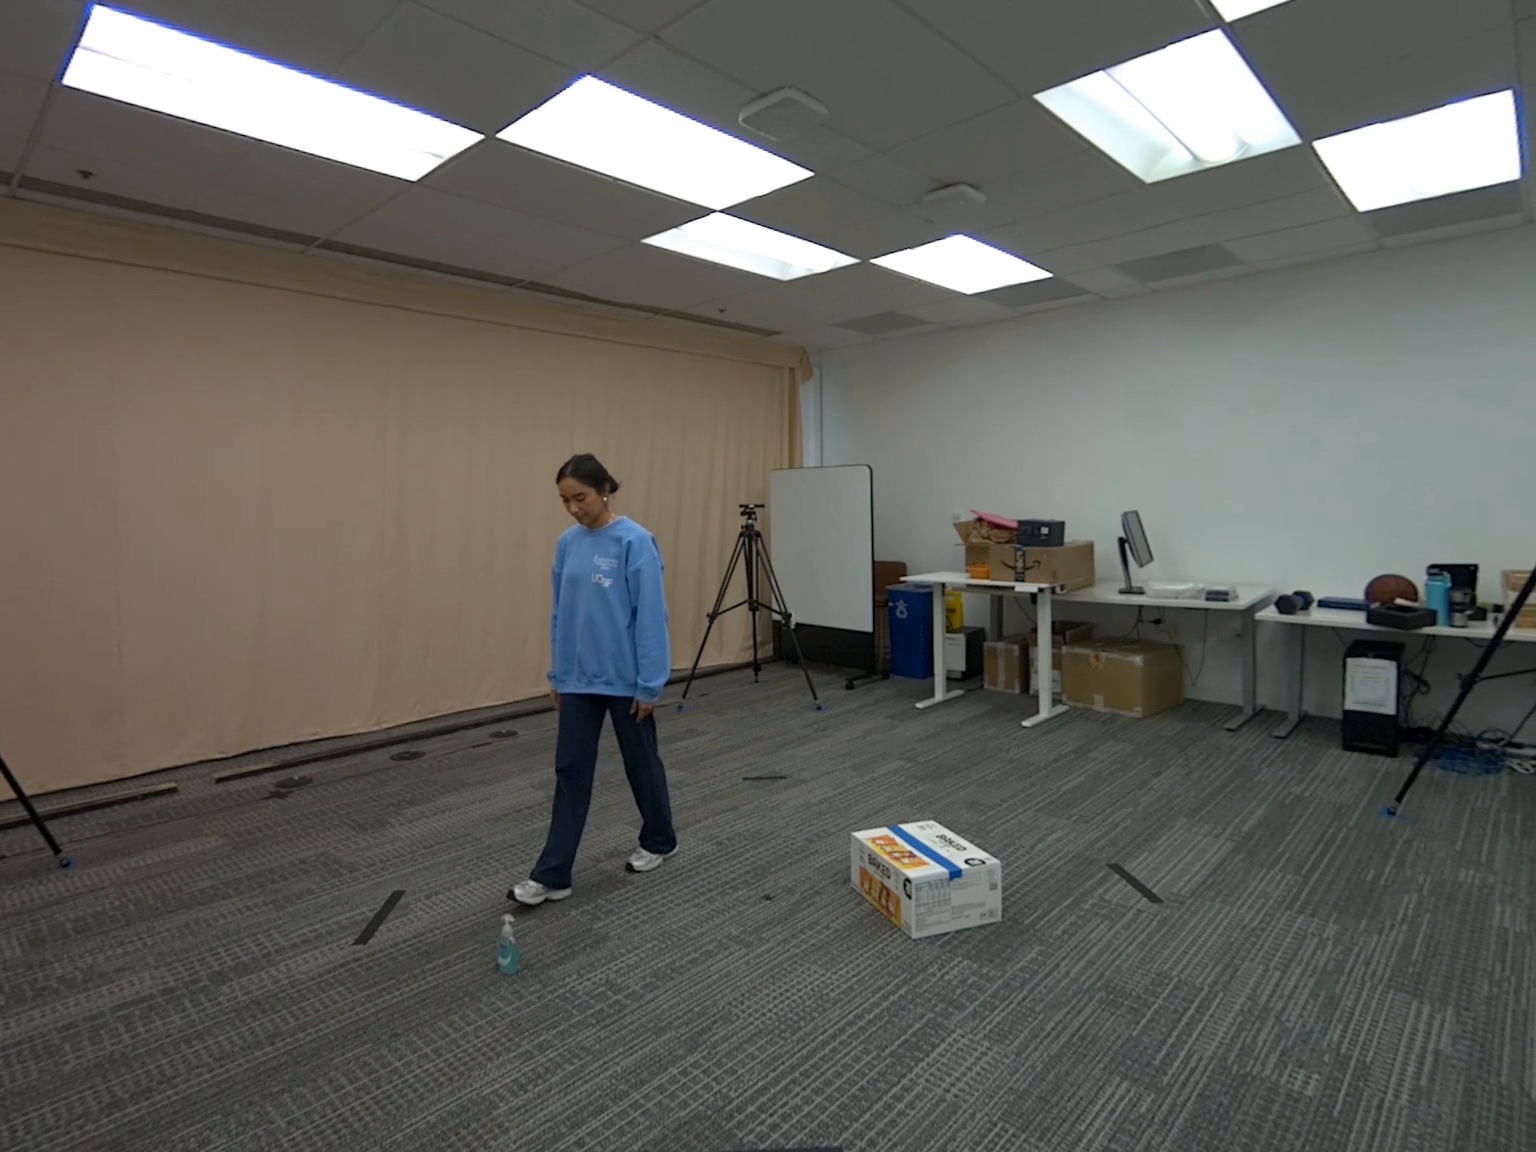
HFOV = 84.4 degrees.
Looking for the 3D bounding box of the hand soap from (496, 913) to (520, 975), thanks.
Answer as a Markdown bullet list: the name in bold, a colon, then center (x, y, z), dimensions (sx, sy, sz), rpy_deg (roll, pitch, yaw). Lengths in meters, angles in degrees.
- **hand soap**: center (-0.785, 1.106, 2.548), dimensions (0.087, 0.168, 0.042), rpy_deg (1, 3, 40)
